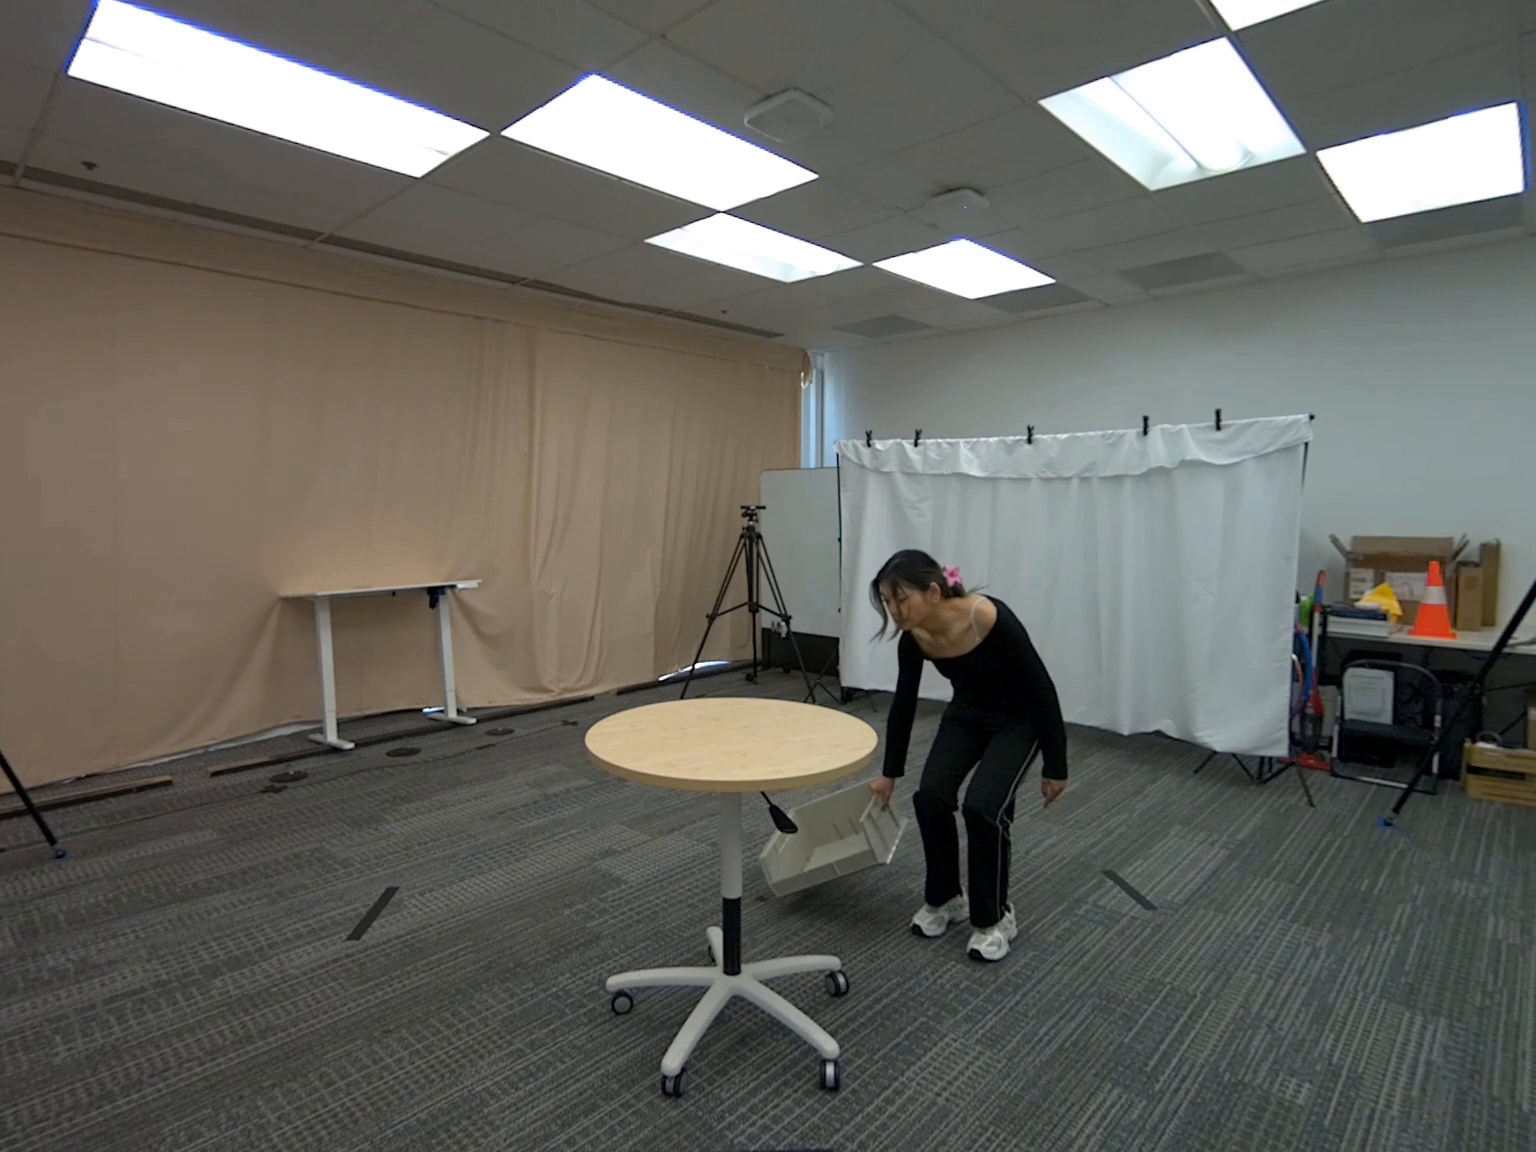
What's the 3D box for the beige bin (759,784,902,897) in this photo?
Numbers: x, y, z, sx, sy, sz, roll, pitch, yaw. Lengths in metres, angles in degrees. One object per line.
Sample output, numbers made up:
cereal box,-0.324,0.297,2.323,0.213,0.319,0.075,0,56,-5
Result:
beige bin,0.233,0.917,2.947,0.428,0.189,0.371,-29,-1,25
